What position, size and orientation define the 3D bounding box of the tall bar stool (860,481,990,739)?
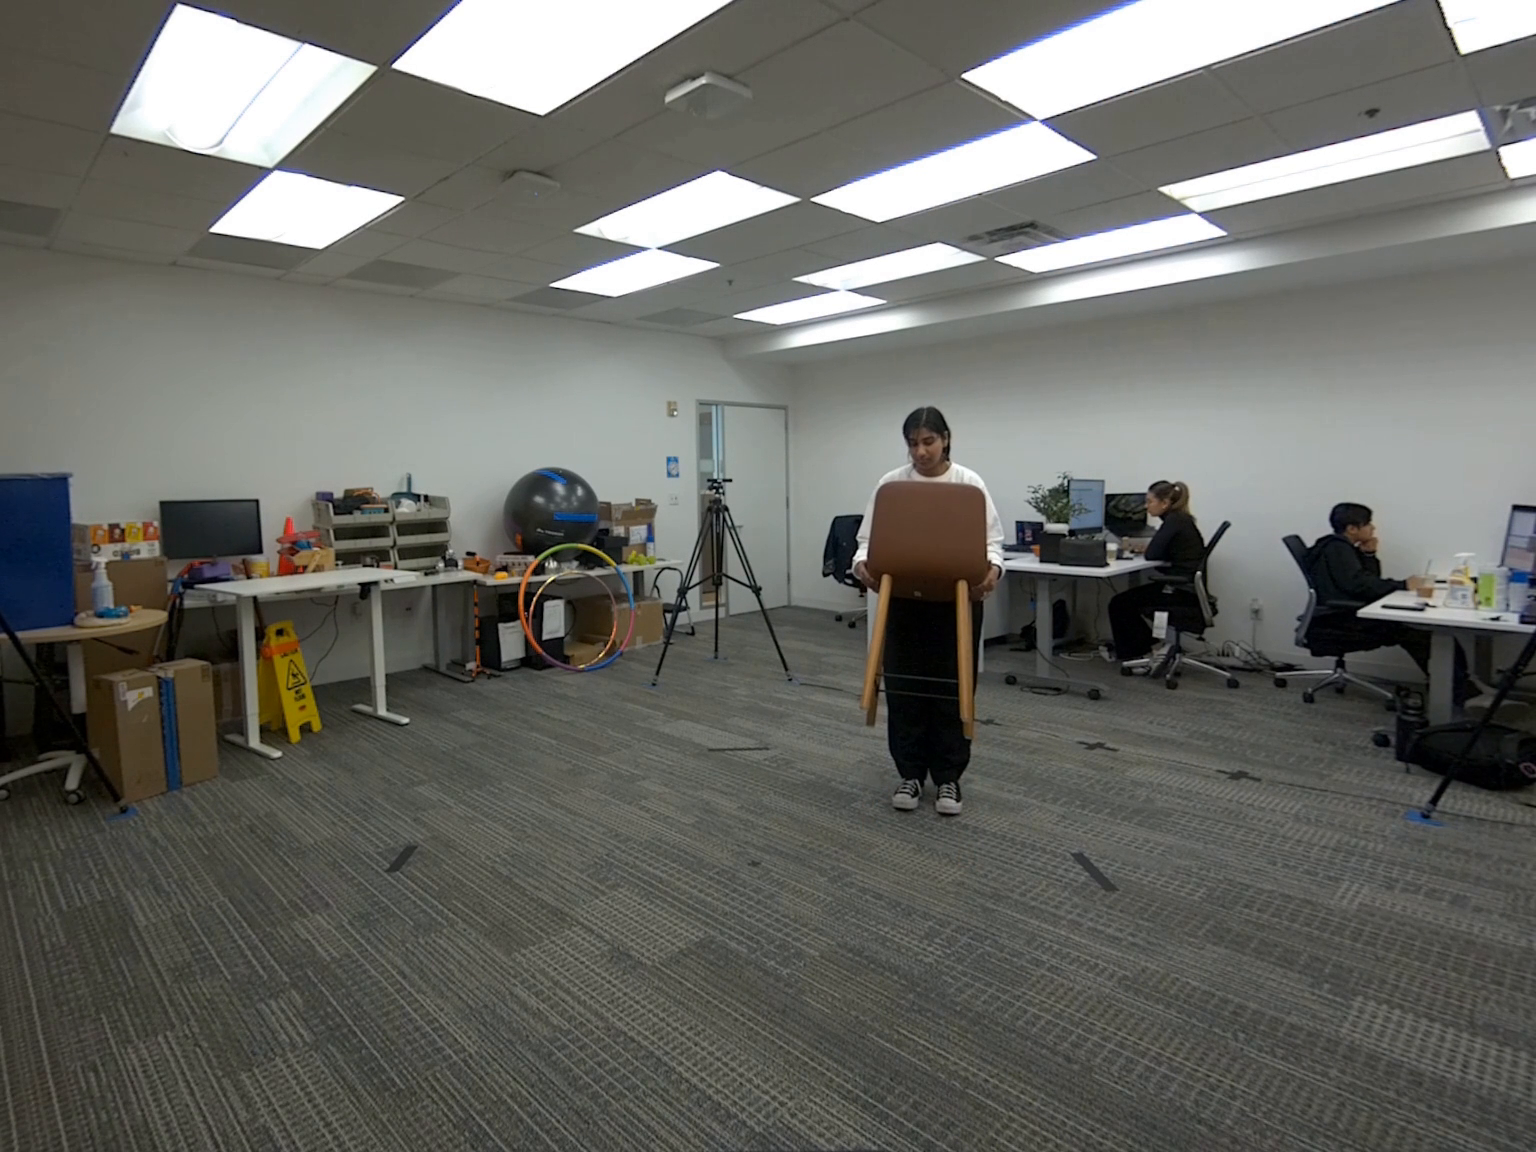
[{"bbox_3d":[0.605,0.135,3.311,0.464,0.902,0.454,1,-17,15],"label":"tall bar stool"}]
